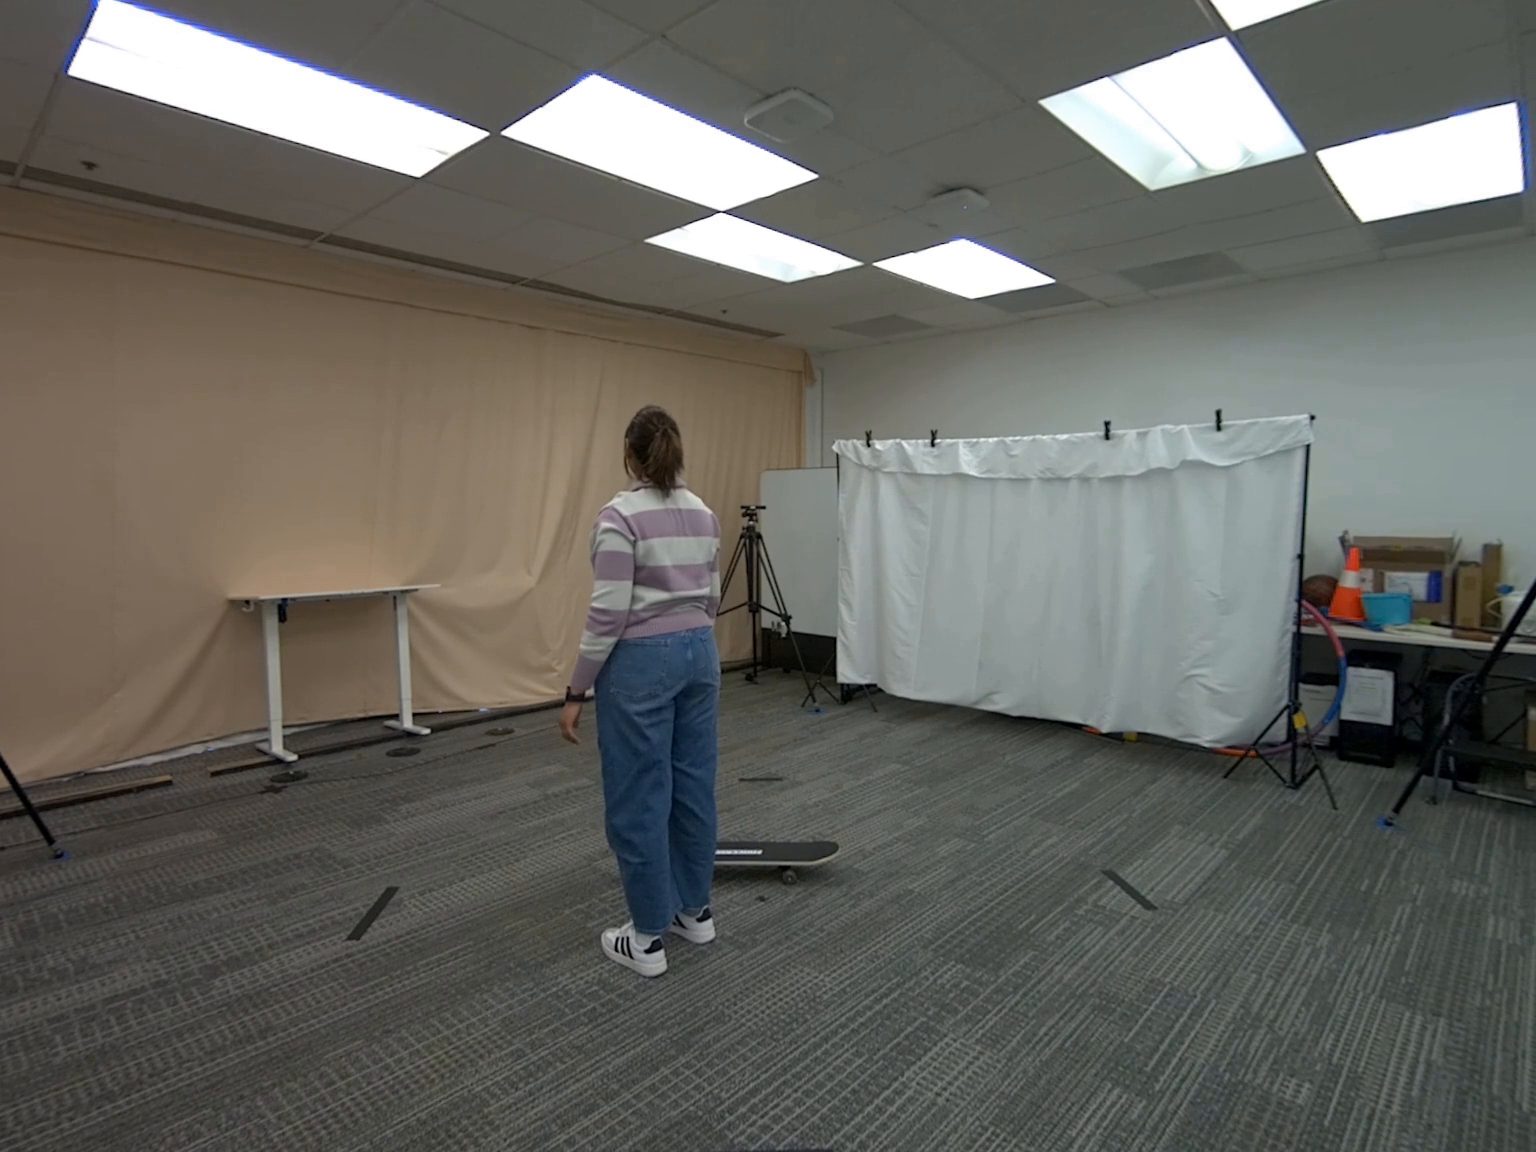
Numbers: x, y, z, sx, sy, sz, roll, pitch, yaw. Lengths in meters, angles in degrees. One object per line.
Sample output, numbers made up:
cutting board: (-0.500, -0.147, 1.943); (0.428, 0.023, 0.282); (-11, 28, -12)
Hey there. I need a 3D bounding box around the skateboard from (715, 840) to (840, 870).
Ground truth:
skateboard: (-0.115, 1.075, 3.171); (0.786, 0.110, 0.194); (0, 5, 1)
